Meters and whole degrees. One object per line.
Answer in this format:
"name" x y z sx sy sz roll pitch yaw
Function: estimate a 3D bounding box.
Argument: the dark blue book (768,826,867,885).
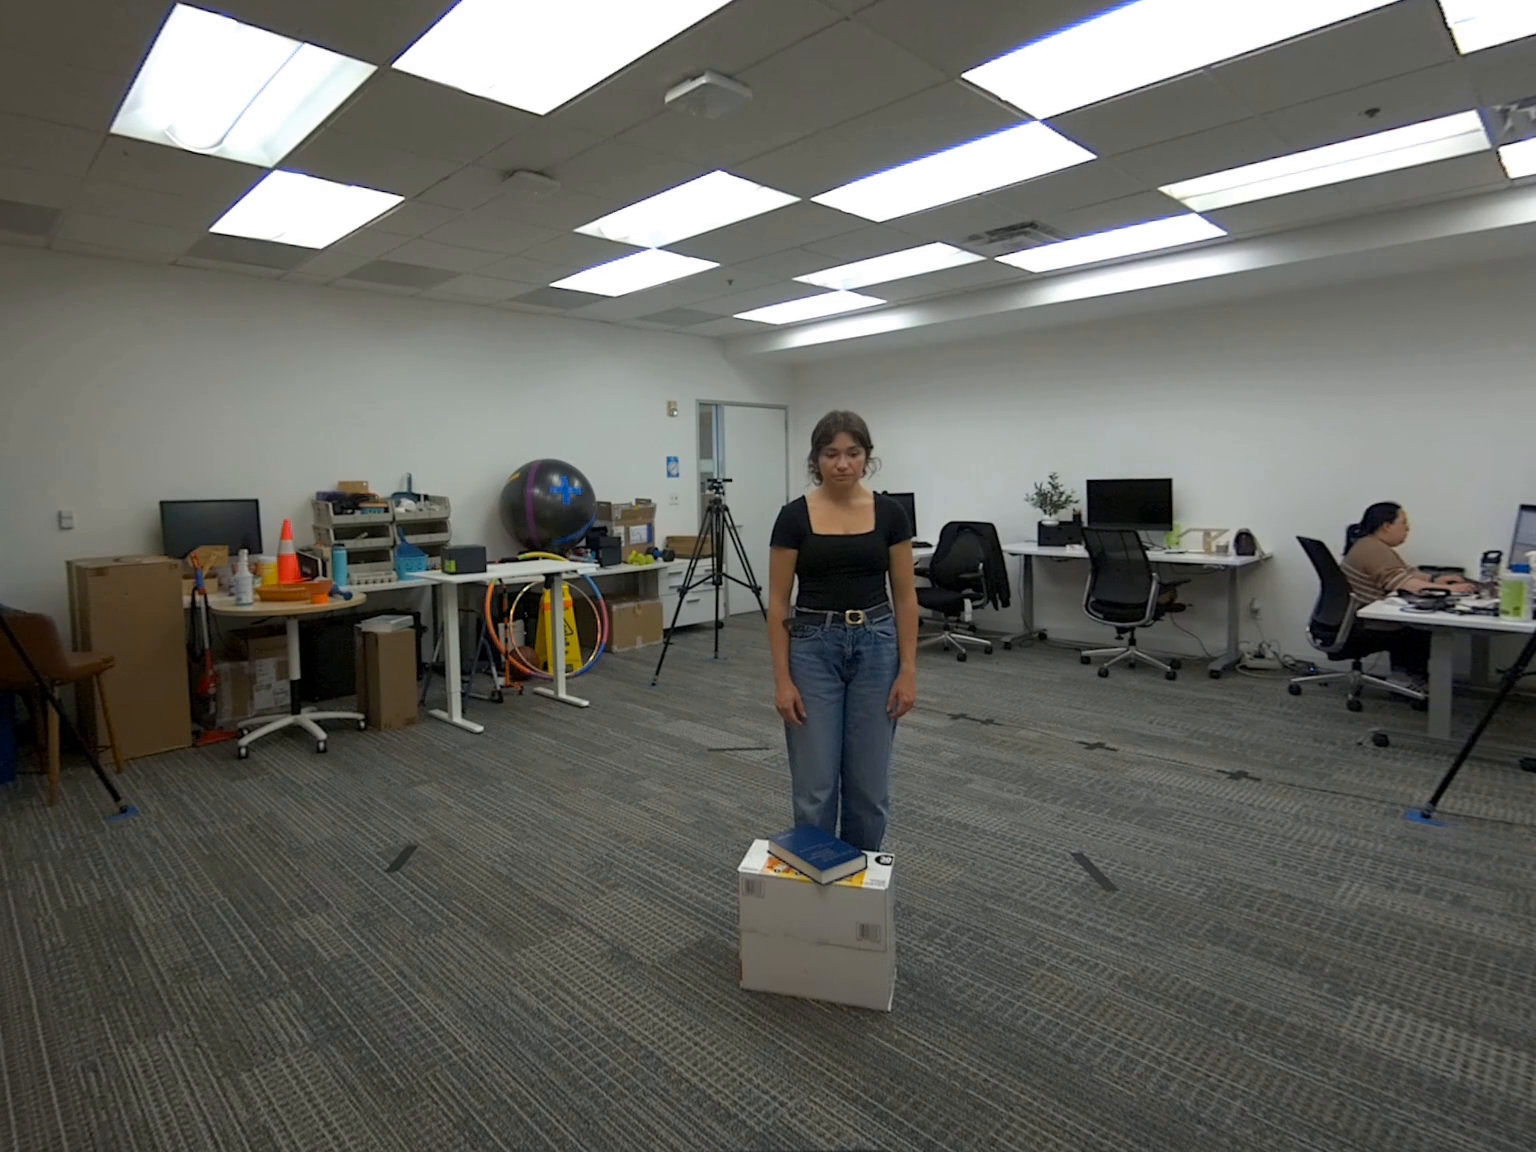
"dark blue book" 0.134 0.771 2.368 0.159 0.045 0.253 -6 10 -35
